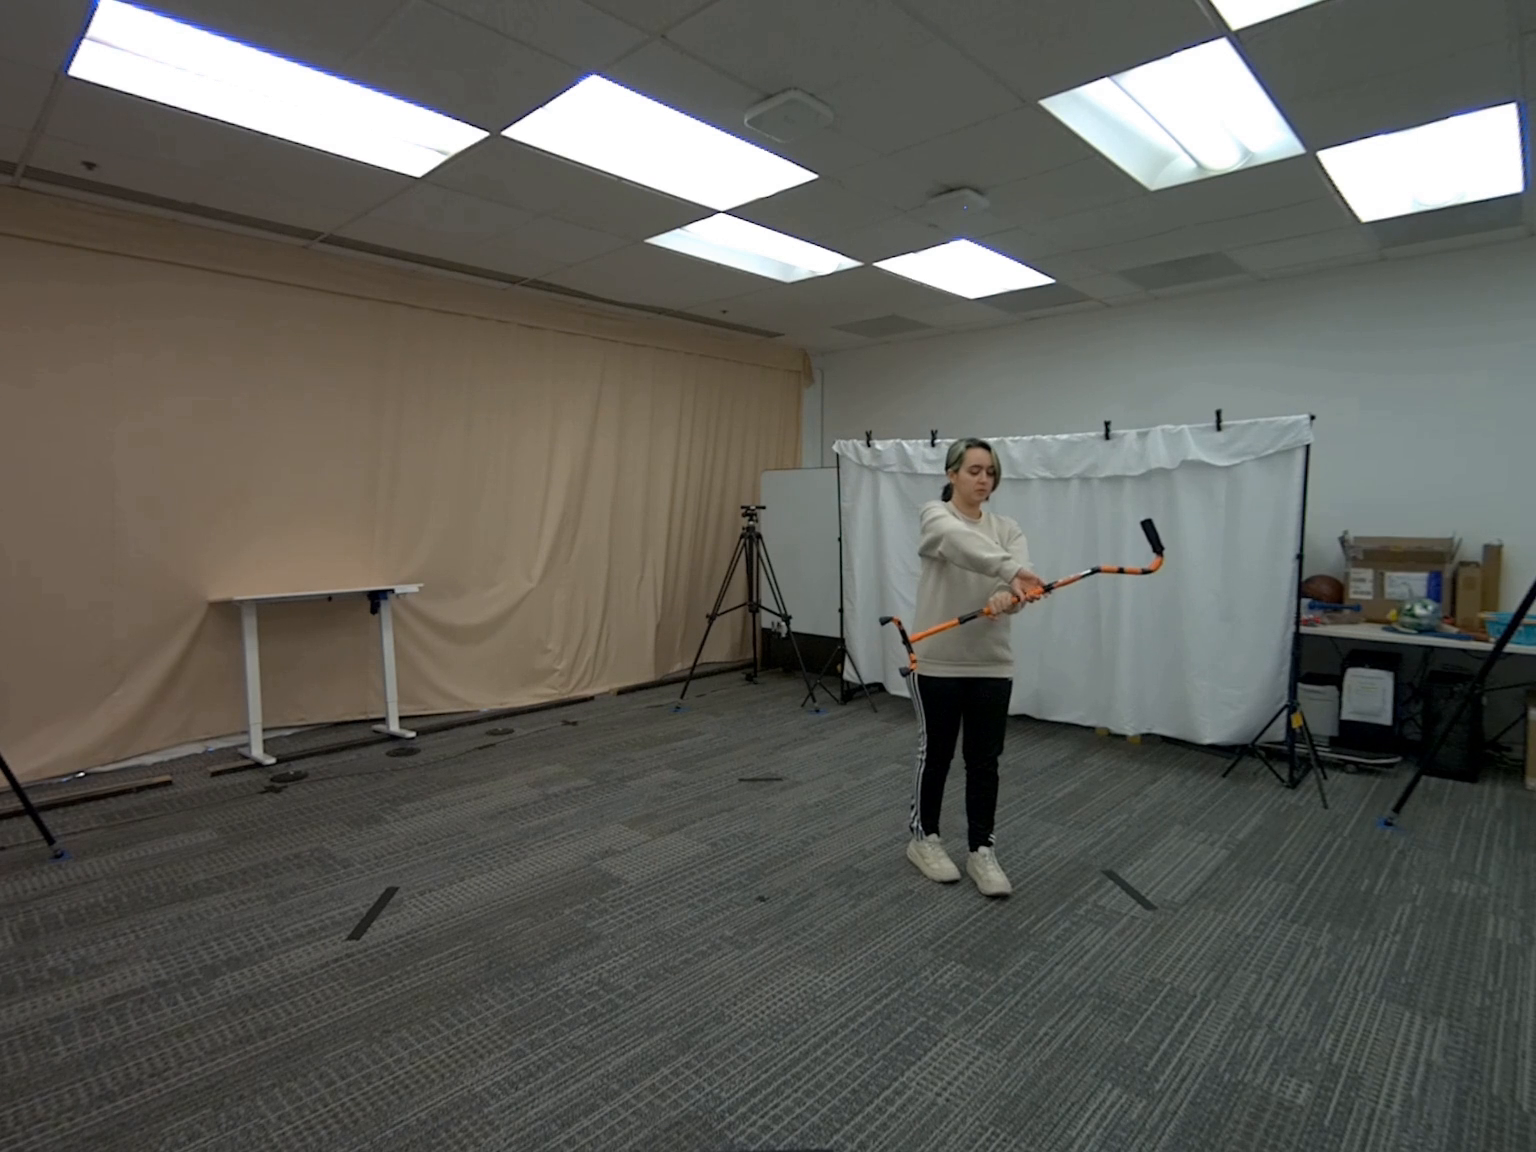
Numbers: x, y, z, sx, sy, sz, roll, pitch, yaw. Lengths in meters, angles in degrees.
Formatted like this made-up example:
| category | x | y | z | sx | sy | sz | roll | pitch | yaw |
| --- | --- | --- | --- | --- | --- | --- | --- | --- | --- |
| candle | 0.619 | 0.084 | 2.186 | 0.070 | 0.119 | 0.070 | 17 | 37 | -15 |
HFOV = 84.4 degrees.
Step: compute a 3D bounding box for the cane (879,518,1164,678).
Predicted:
| category | x | y | z | sx | sy | sz | roll | pitch | yaw |
| --- | --- | --- | --- | --- | --- | --- | --- | --- | --- |
| cane | 0.832 | 0.080 | 2.692 | 0.911 | 0.208 | 0.150 | -23 | -8 | 5 |
